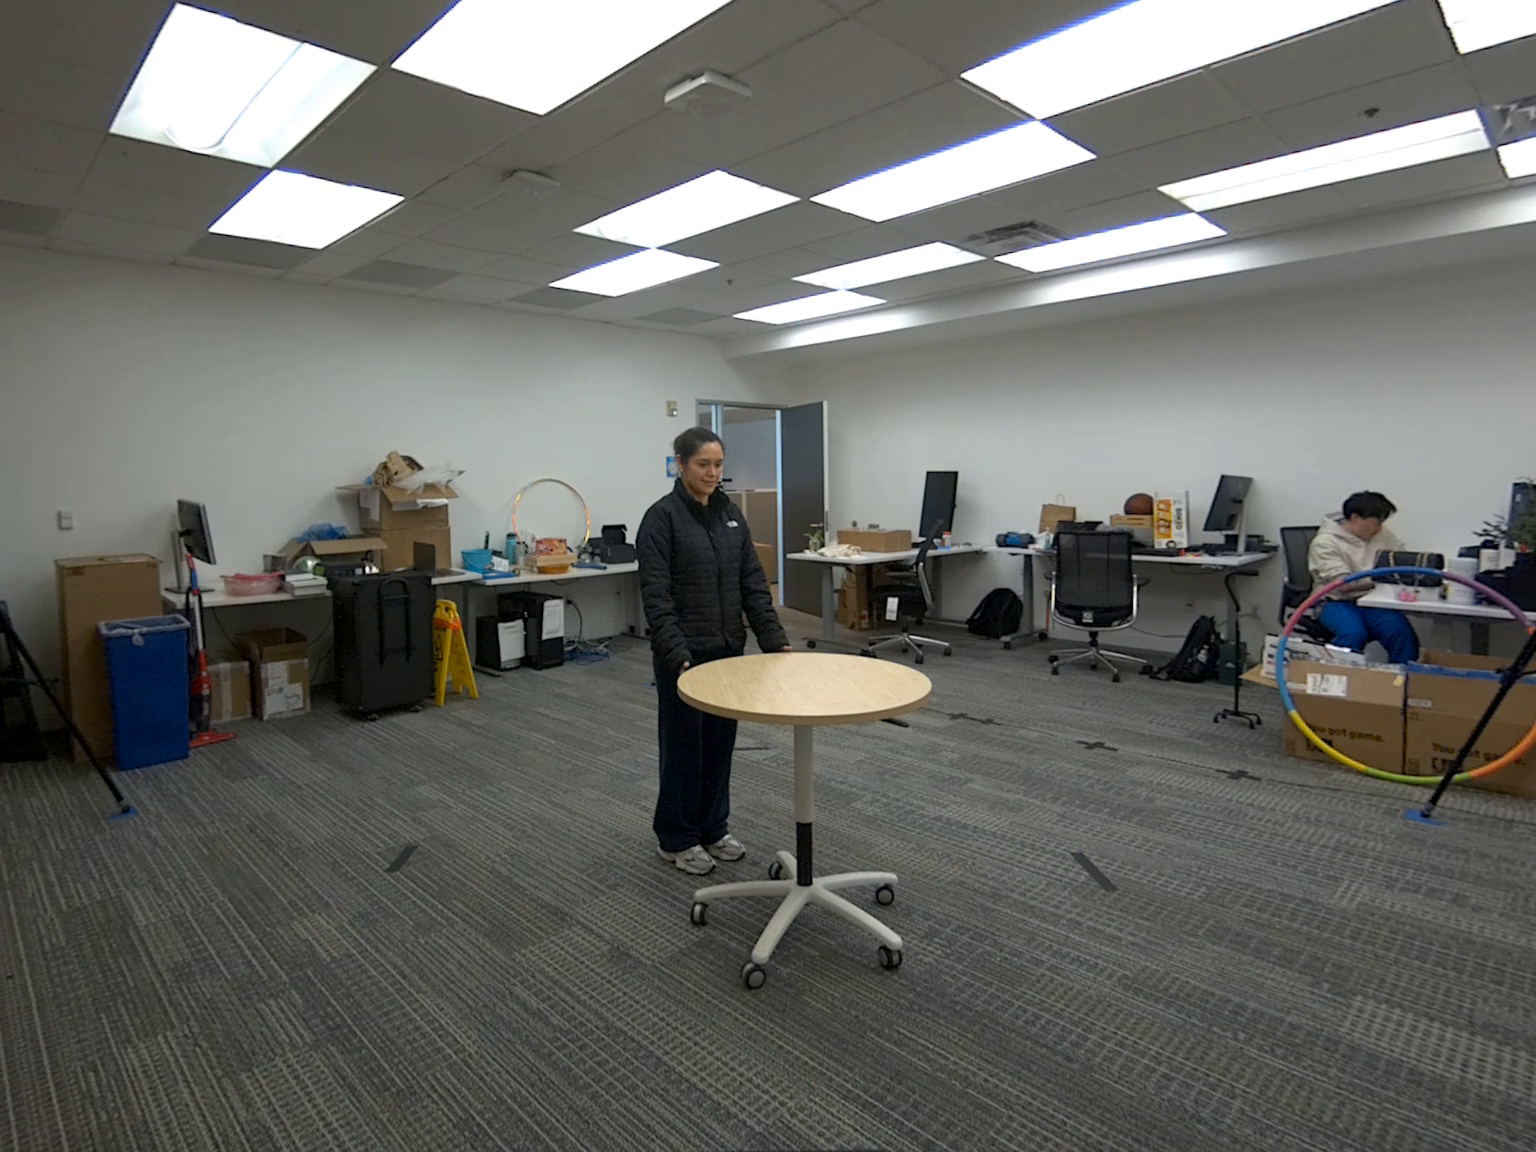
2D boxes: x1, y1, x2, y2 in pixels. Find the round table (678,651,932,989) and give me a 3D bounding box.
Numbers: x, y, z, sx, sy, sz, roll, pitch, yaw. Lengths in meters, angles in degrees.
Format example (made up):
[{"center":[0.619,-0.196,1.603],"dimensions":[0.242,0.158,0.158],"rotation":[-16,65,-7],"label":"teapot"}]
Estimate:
[{"center":[0.115,0.701,2.655],"dimensions":[0.784,0.783,0.790],"rotation":[-1,6,-2],"label":"round table"}]
